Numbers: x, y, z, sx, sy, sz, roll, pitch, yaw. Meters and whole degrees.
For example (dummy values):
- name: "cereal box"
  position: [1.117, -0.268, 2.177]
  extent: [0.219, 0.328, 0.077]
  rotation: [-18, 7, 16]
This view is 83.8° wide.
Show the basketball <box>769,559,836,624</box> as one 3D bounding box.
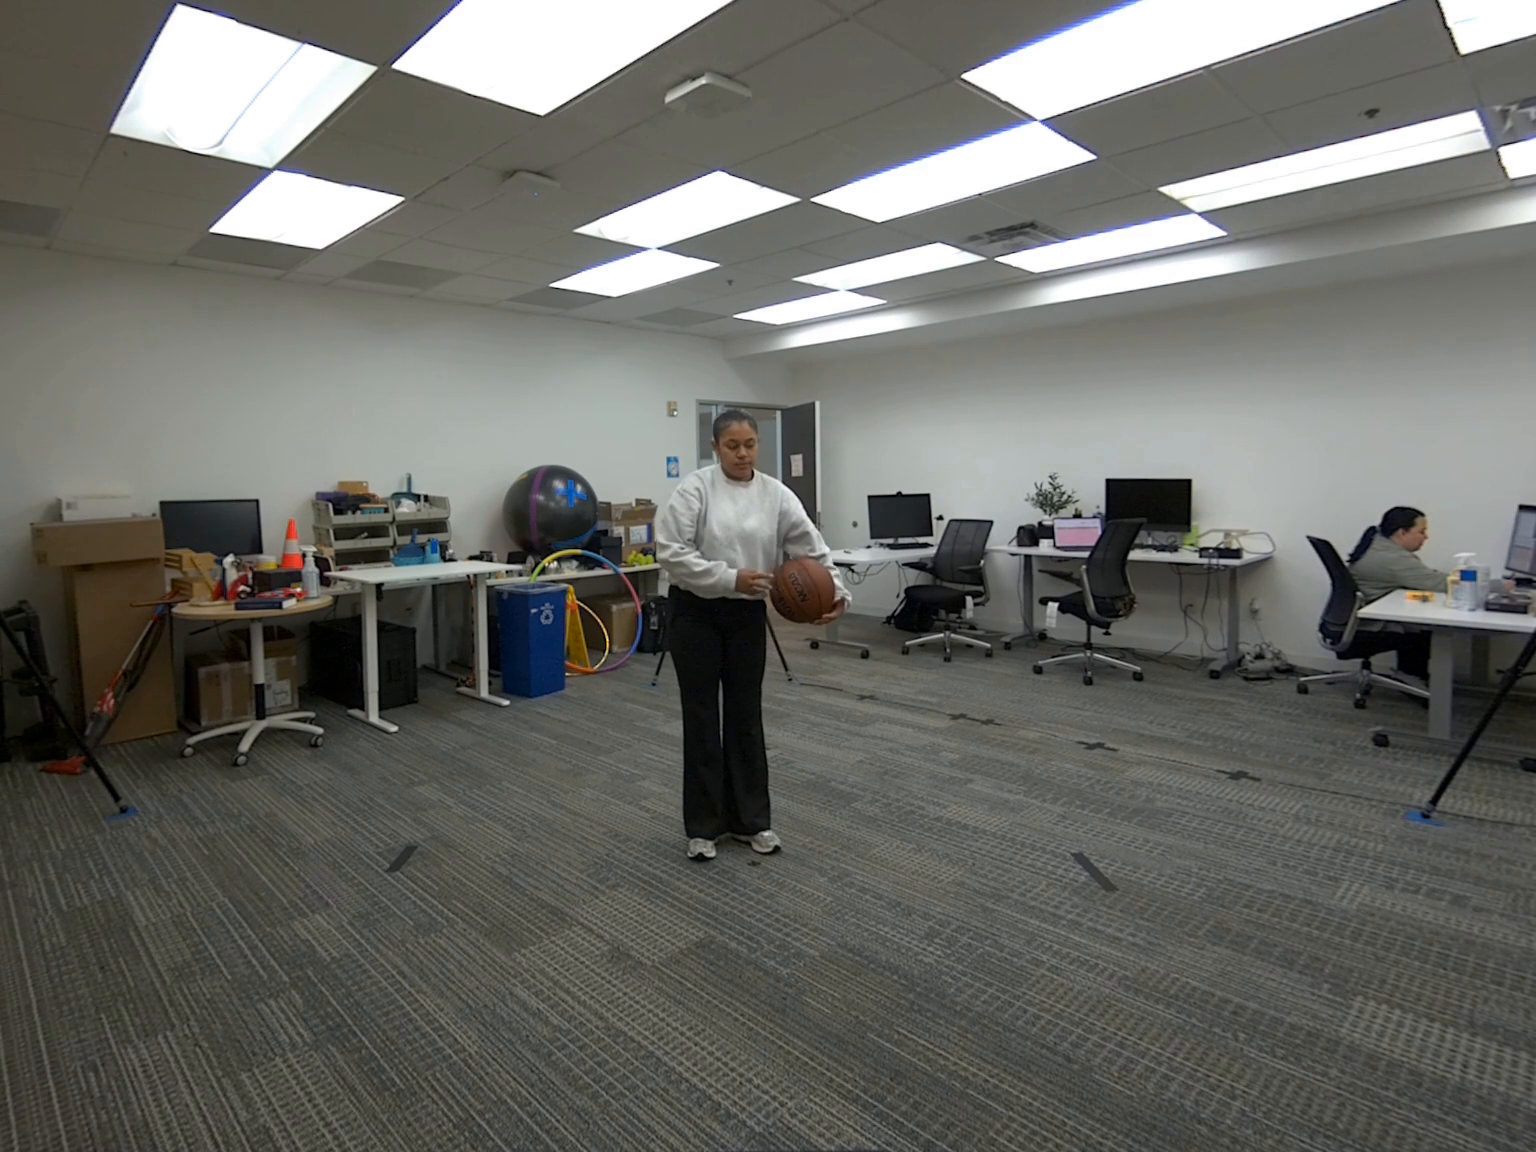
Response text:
- name: "basketball"
  position: [0.109, 0.053, 3.087]
  extent: [0.236, 0.235, 0.237]
  rotation: [-1, 5, -2]
